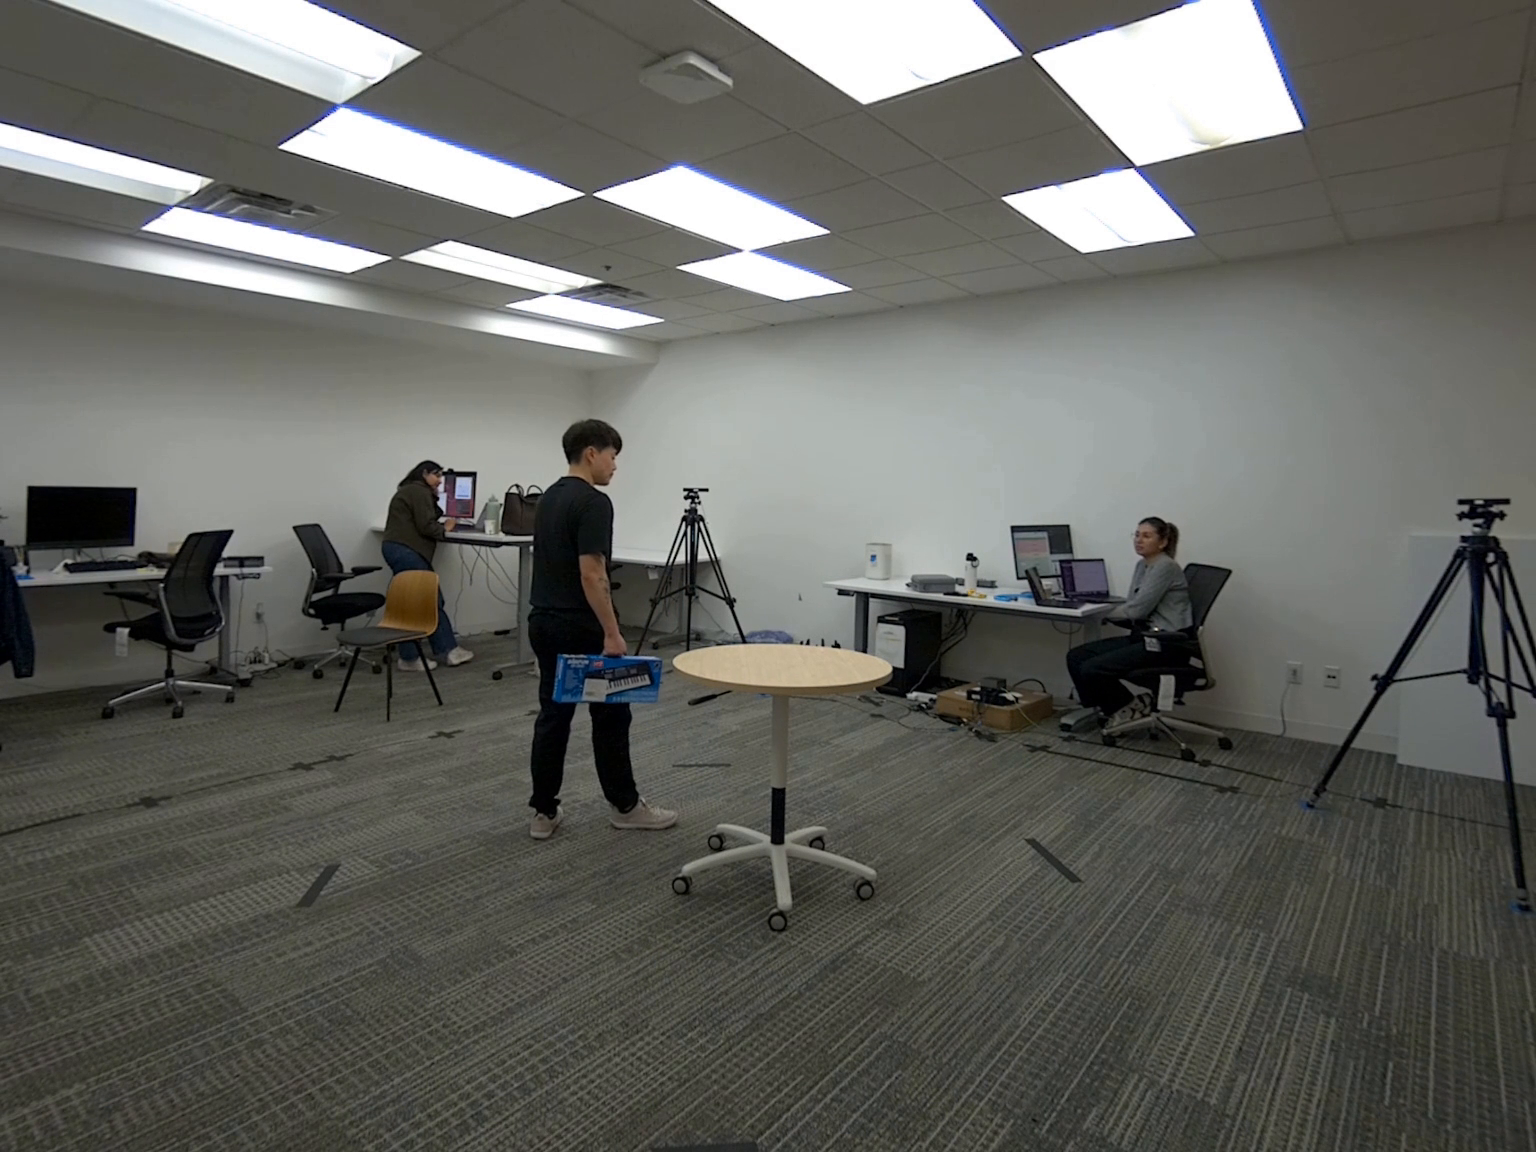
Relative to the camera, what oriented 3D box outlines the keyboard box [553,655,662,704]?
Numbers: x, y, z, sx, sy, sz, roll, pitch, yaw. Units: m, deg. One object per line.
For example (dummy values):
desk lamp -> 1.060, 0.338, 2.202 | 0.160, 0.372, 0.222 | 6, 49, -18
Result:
keyboard box -> -0.612, 0.389, 3.270 | 0.422, 0.176, 0.061 | 6, 1, -38
